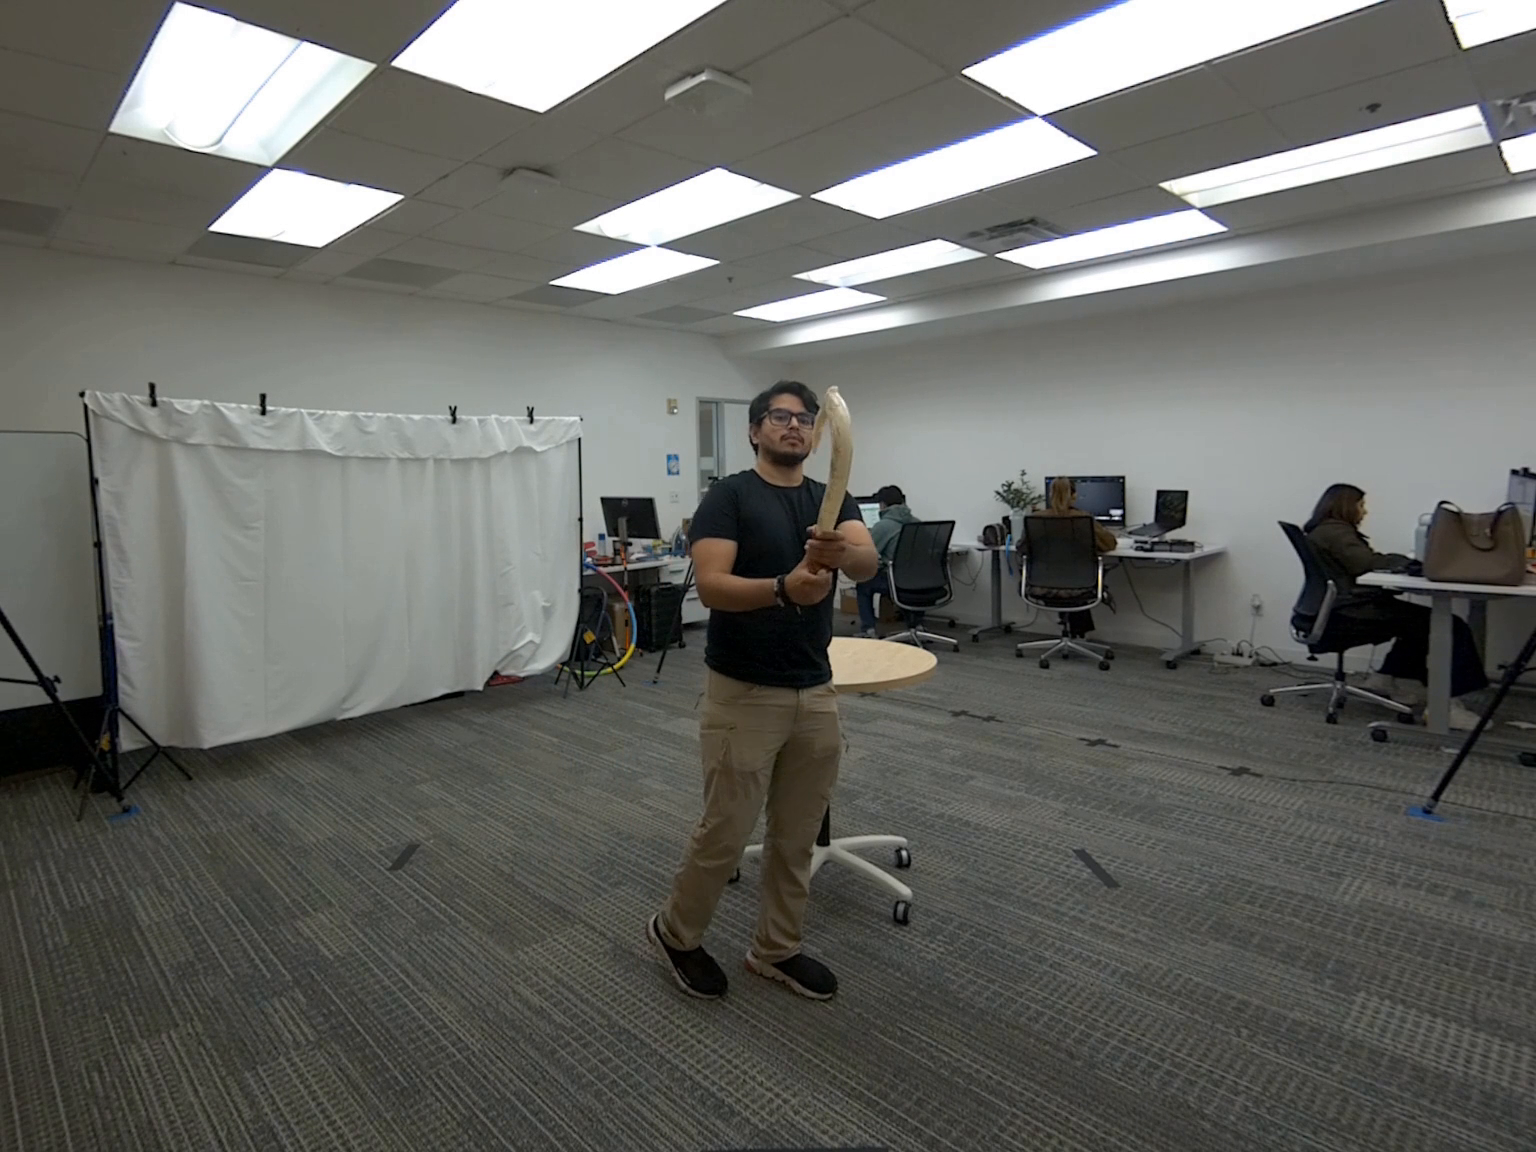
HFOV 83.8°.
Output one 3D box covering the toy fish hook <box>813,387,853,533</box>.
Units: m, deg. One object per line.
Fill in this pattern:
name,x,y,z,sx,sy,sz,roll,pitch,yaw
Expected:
toy fish hook,0.132,-0.164,1.847,0.048,0.494,0.231,1,40,-6
